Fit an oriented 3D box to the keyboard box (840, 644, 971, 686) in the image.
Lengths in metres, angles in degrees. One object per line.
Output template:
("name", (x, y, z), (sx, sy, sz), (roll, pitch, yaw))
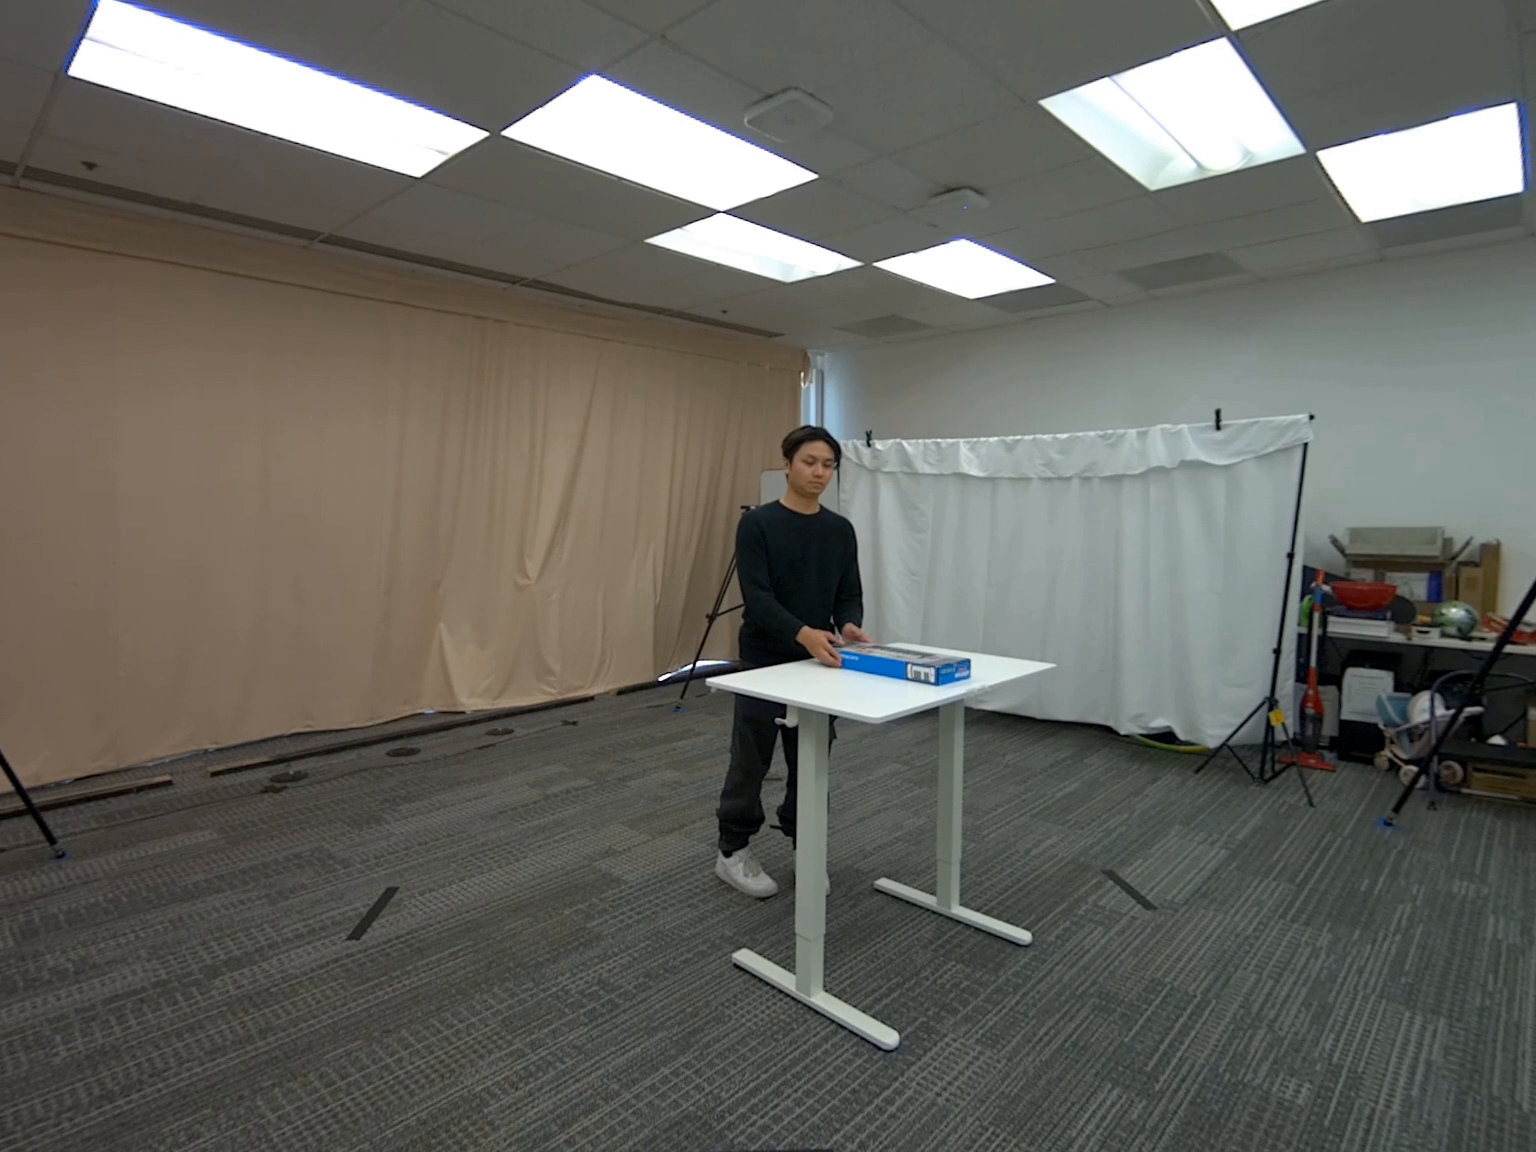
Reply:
("keyboard box", (0.387, 0.264, 2.583), (0.170, 0.059, 0.451), (-4, 6, -43))
